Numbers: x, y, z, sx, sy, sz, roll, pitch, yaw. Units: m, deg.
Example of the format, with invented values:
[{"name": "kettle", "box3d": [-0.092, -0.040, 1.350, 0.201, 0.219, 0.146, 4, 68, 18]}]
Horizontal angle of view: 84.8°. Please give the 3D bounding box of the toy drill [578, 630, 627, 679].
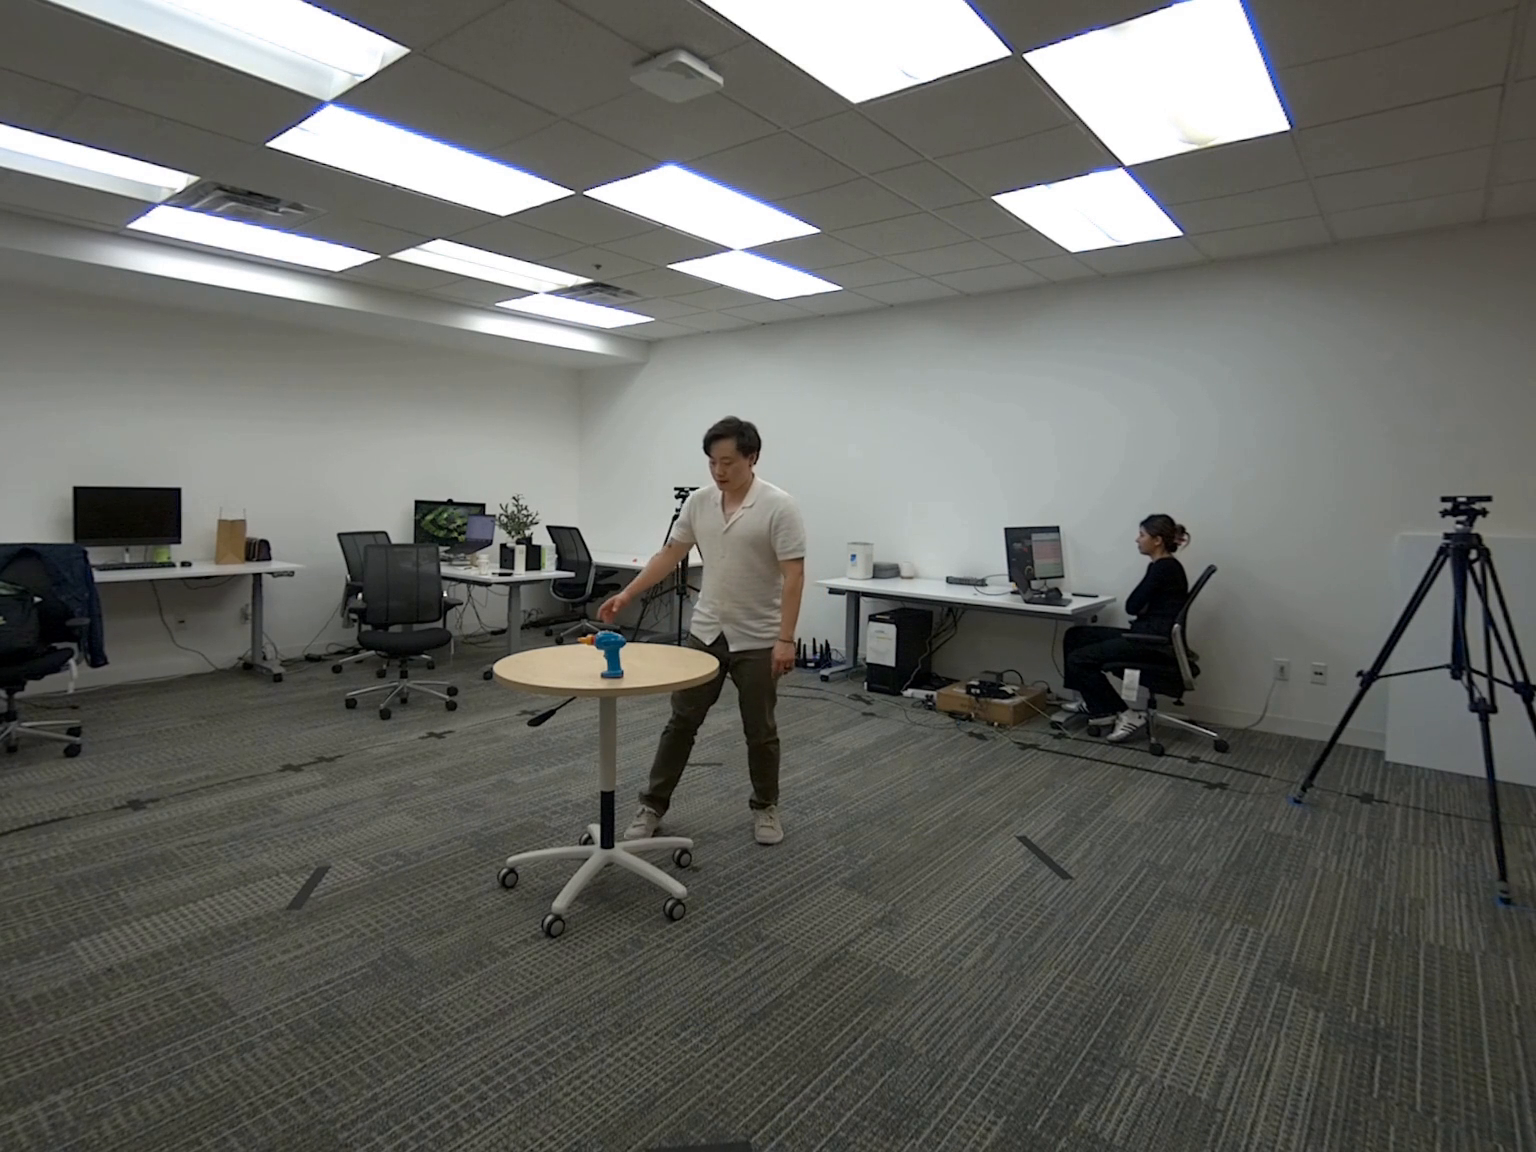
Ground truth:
[{"name": "toy drill", "box3d": [-0.539, 0.244, 2.703, 0.172, 0.146, 0.060, 2, 1, 11]}]
